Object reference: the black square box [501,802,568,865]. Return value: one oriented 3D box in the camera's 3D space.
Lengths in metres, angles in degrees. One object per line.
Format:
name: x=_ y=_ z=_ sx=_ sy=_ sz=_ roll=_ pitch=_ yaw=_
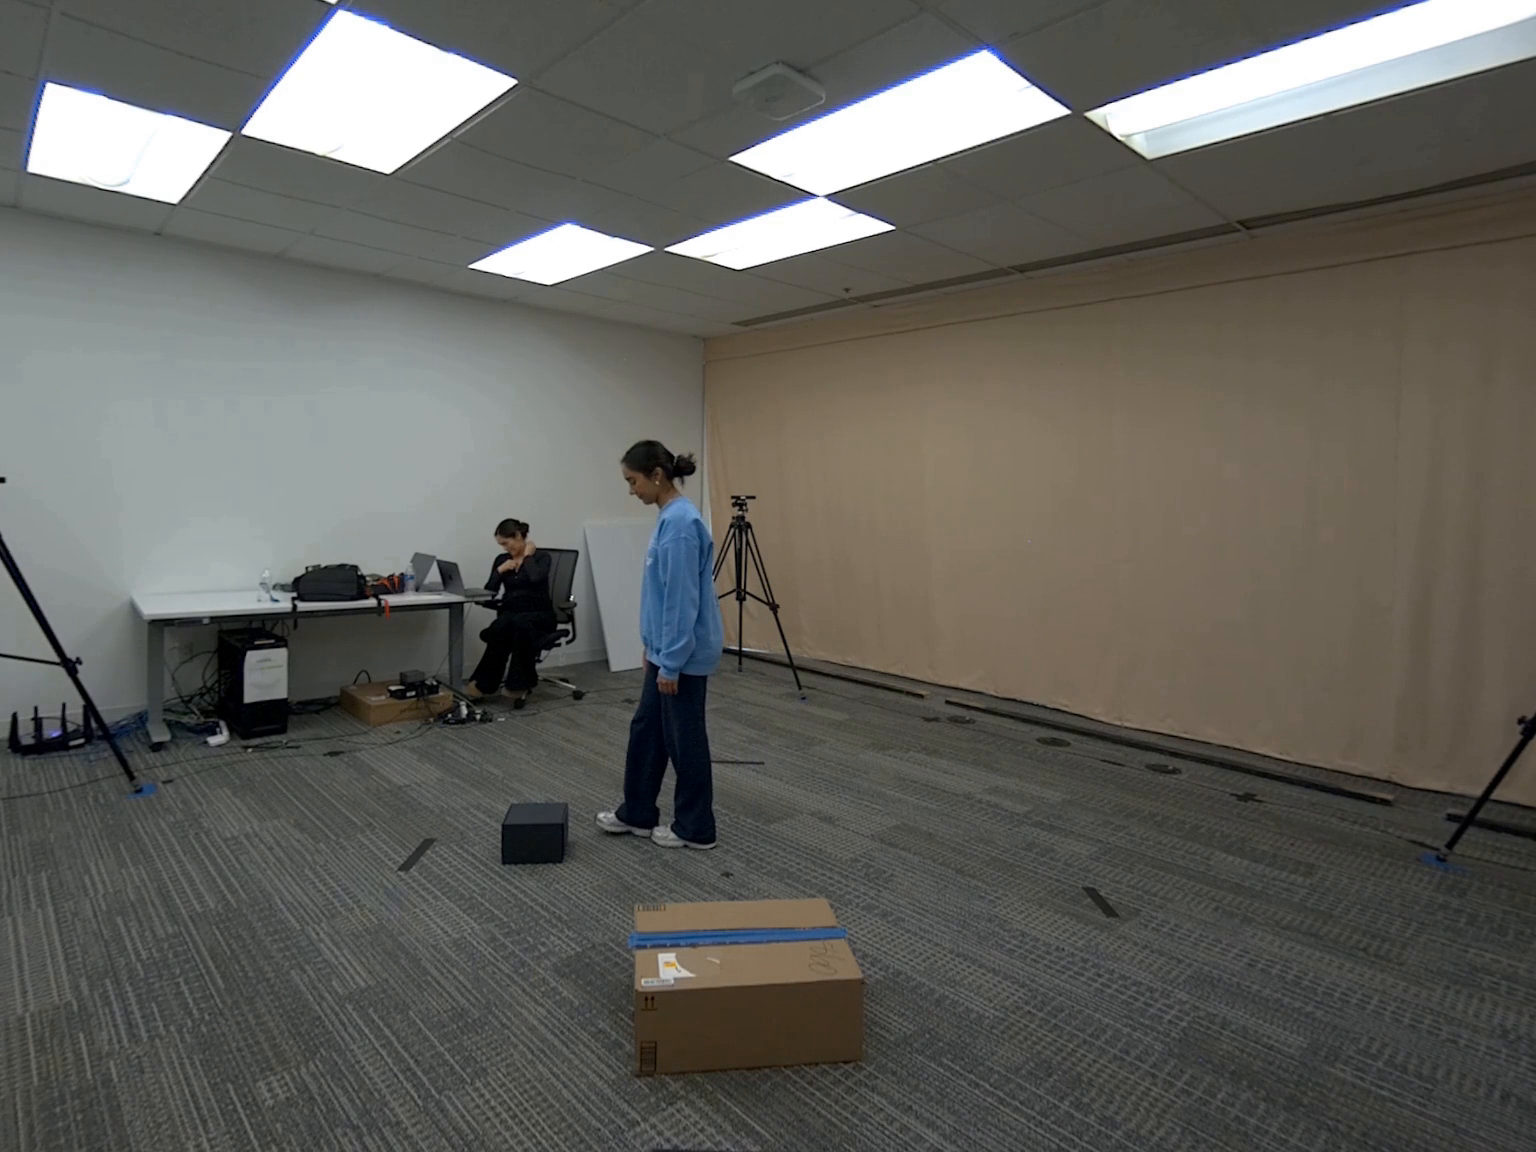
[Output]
black square box: x=-0.904 y=0.989 z=3.253 sx=0.226 sy=0.155 sz=0.219 roll=1 pitch=5 yaw=-8
